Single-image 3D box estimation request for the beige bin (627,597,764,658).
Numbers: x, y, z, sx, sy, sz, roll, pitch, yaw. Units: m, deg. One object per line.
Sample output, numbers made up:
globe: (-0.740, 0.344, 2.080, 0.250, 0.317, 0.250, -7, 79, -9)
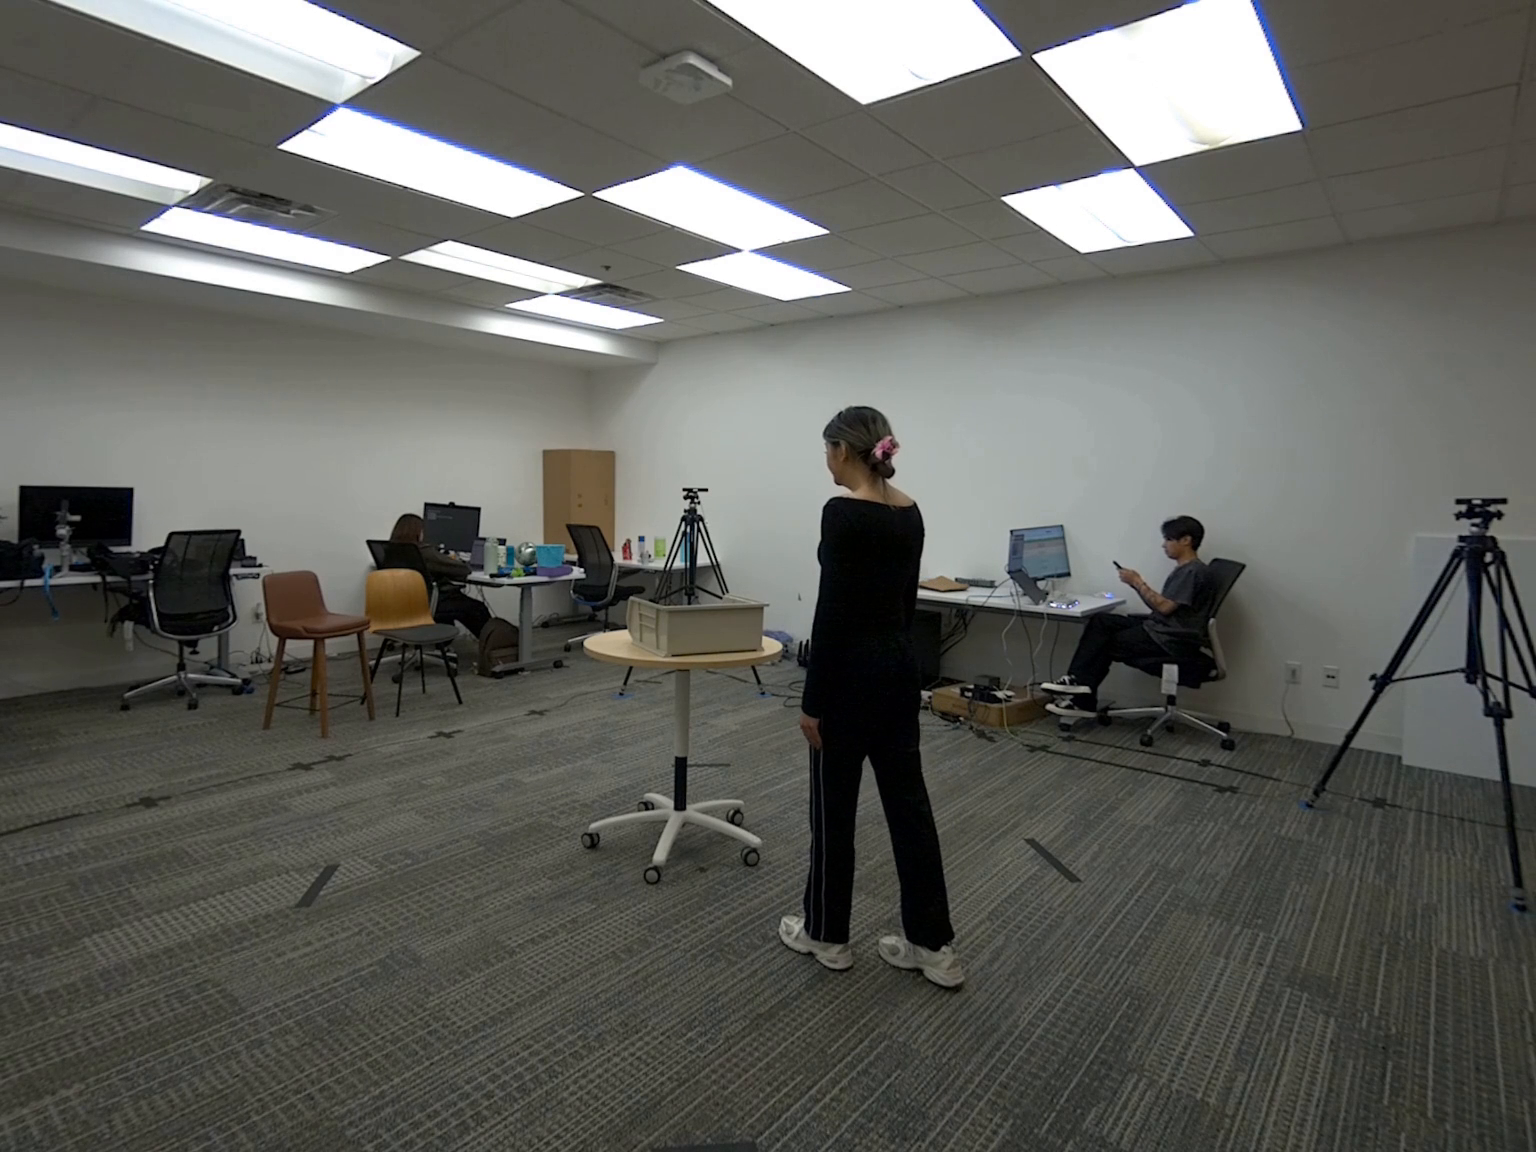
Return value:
beige bin: (-0.285, 0.175, 3.217, 0.411, 0.188, 0.389, -1, 6, -29)
